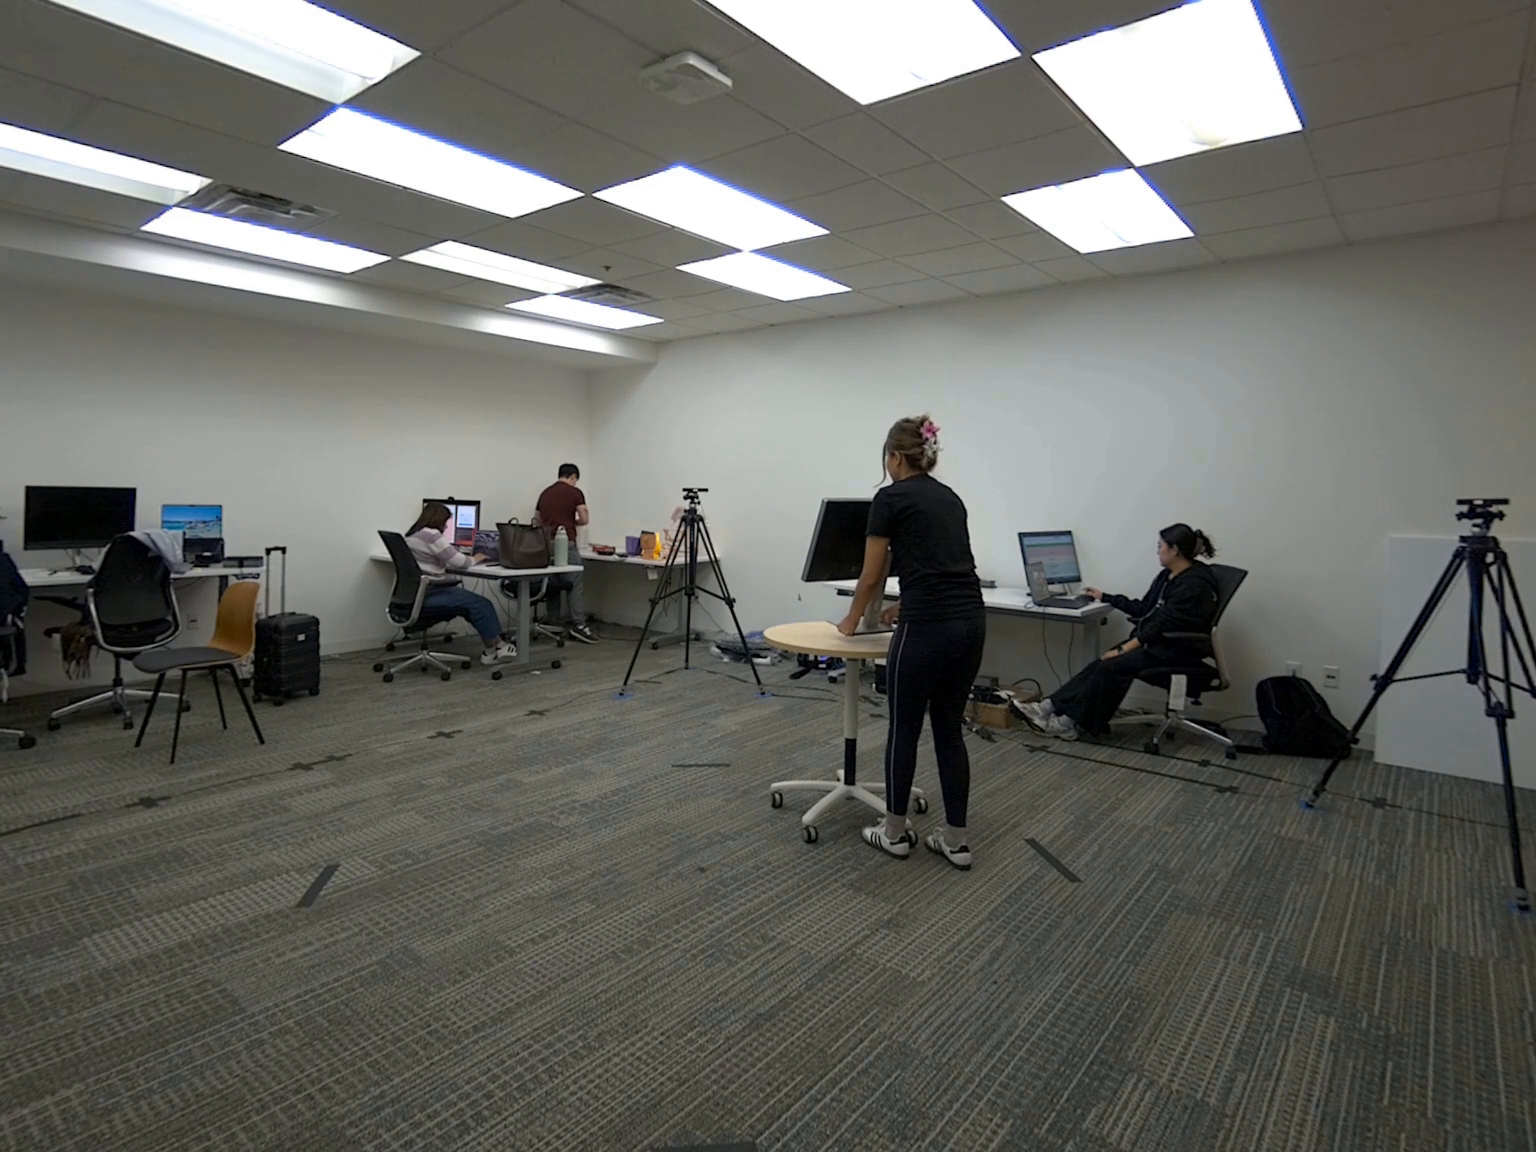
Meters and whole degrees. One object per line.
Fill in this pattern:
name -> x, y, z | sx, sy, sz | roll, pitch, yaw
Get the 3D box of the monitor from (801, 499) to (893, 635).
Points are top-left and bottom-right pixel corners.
monitor -> 0.417, -0.051, 3.494 | 0.524, 0.518, 0.194 | -2, 13, -31
